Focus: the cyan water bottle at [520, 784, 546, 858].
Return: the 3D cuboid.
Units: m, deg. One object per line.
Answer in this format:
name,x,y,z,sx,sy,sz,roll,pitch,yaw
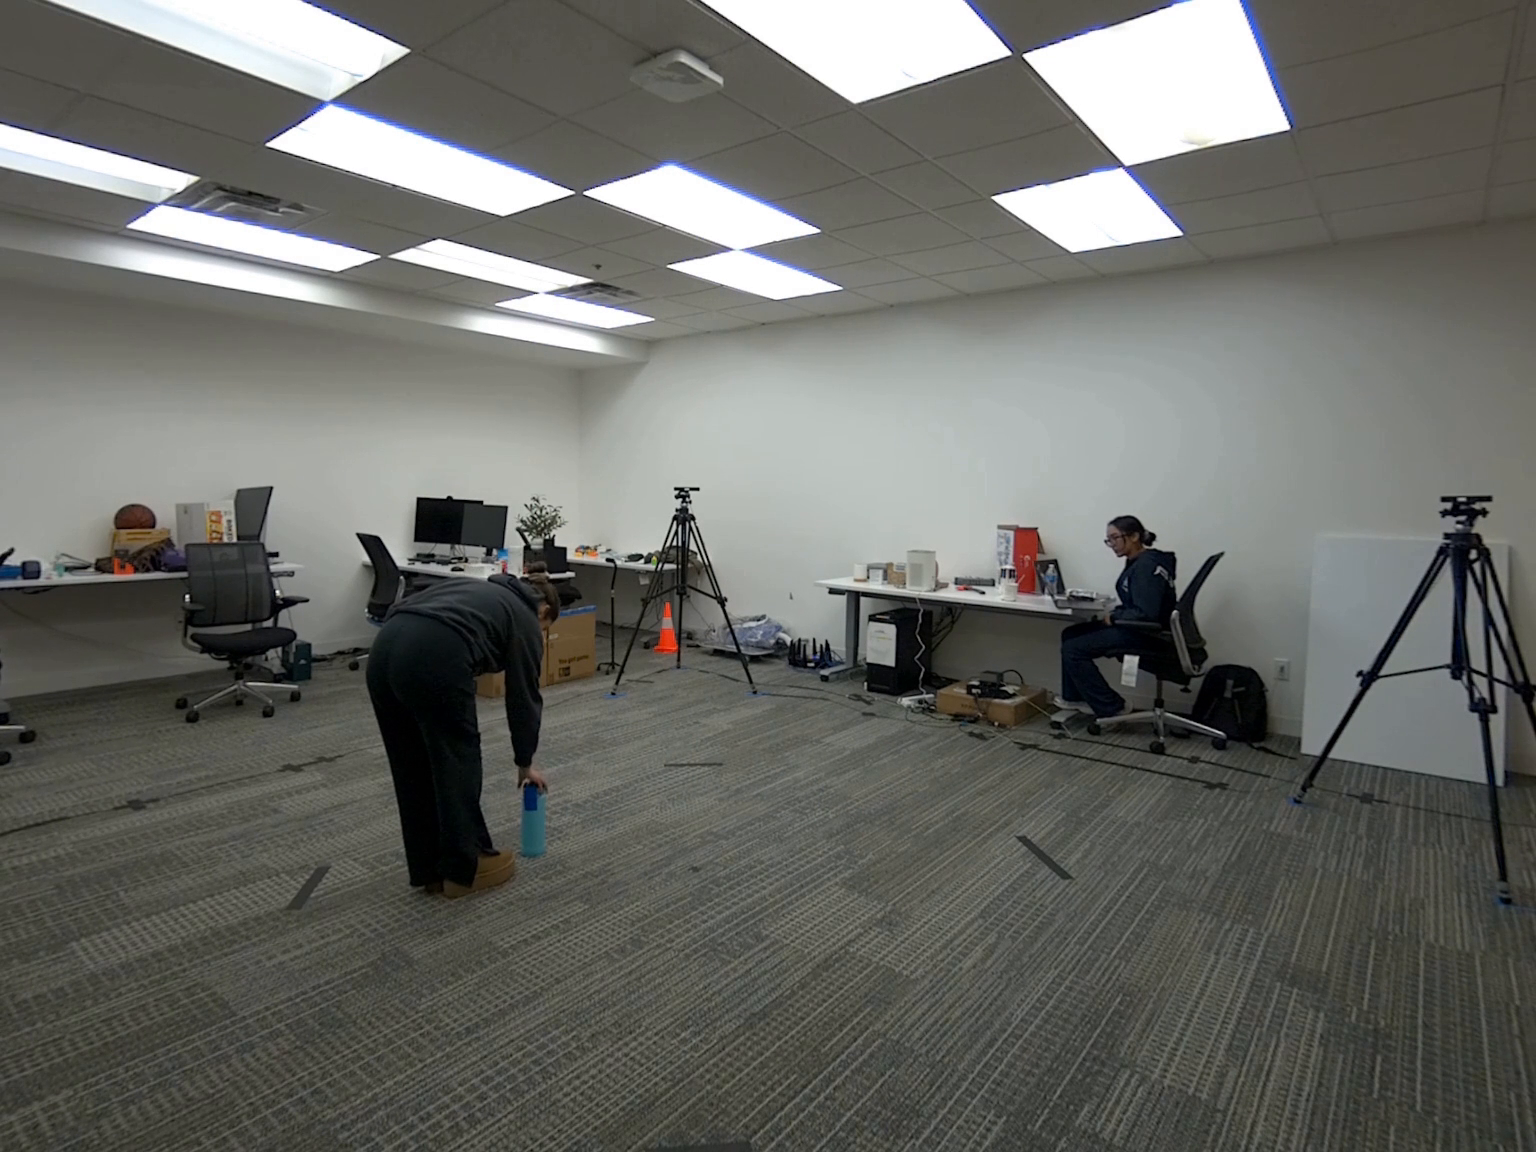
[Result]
cyan water bottle,-0.892,0.908,3.218,0.092,0.282,0.093,1,5,-2
